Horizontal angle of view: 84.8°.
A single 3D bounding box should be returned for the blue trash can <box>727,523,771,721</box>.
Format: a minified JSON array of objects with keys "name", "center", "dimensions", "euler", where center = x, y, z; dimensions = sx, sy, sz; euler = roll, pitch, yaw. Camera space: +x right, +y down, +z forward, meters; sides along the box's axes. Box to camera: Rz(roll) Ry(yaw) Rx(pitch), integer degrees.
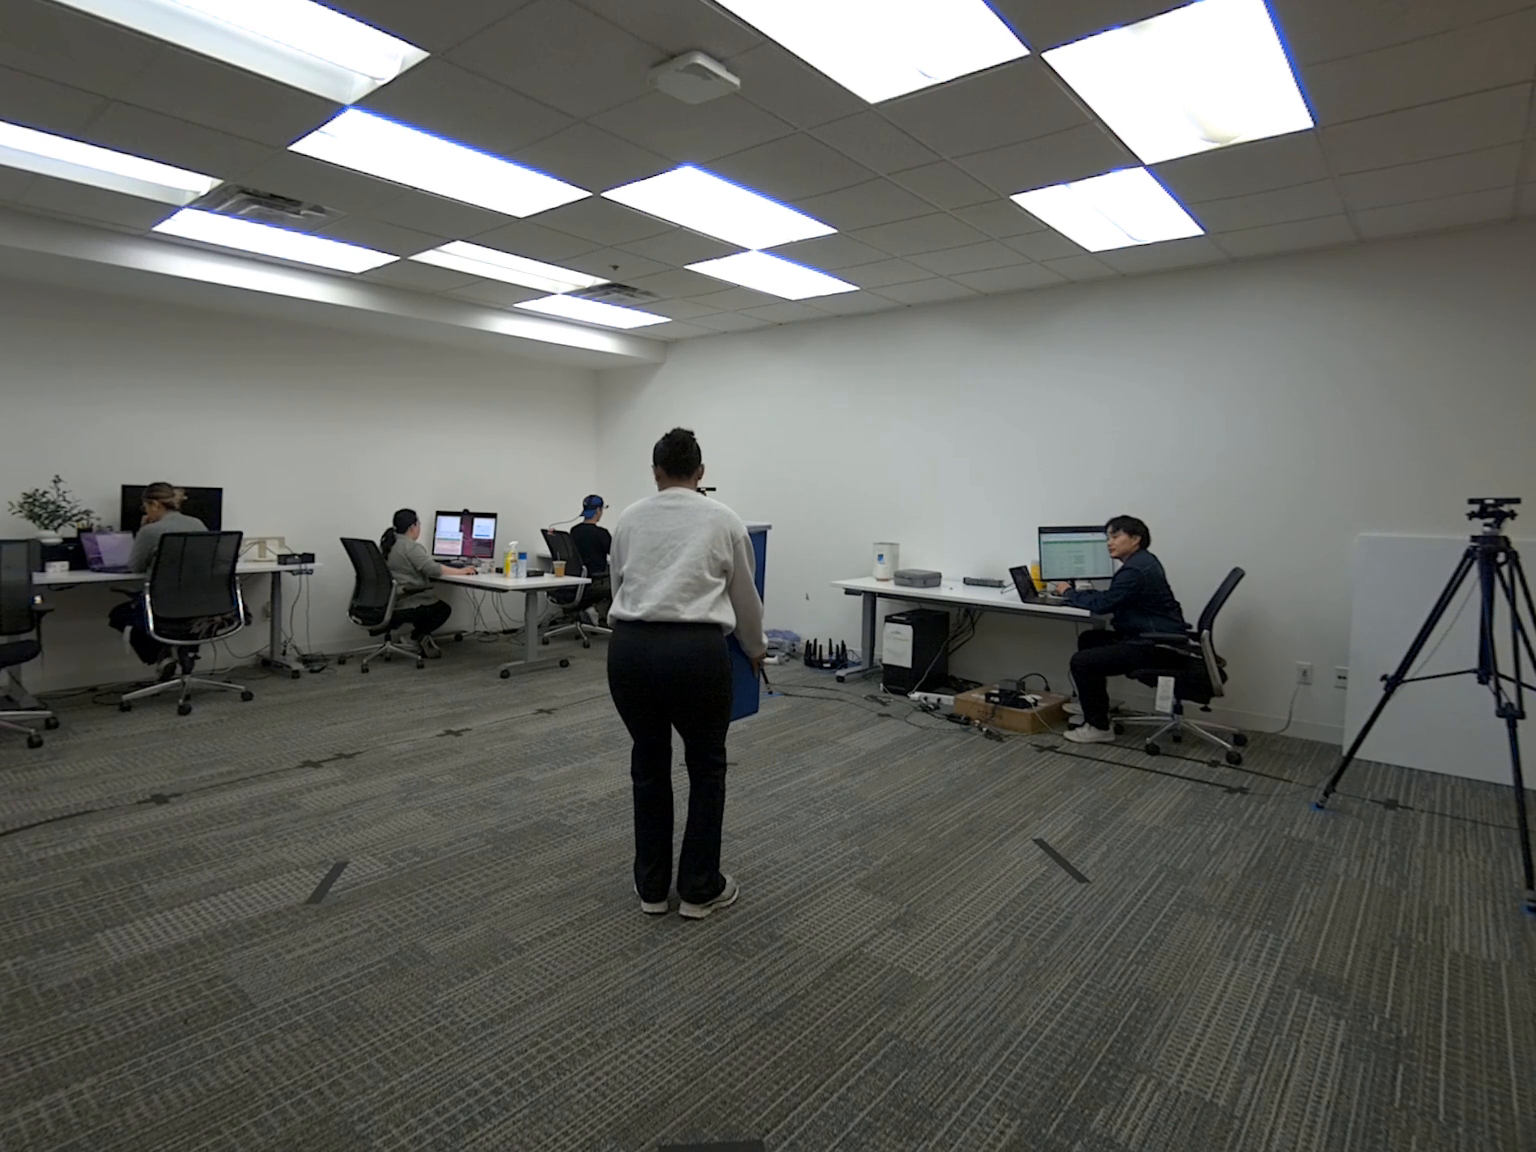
[{"name":"blue trash can","center":[-0.238,0.166,3.154],"dimensions":[0.387,0.710,0.367],"euler":[5,6,38]}]
